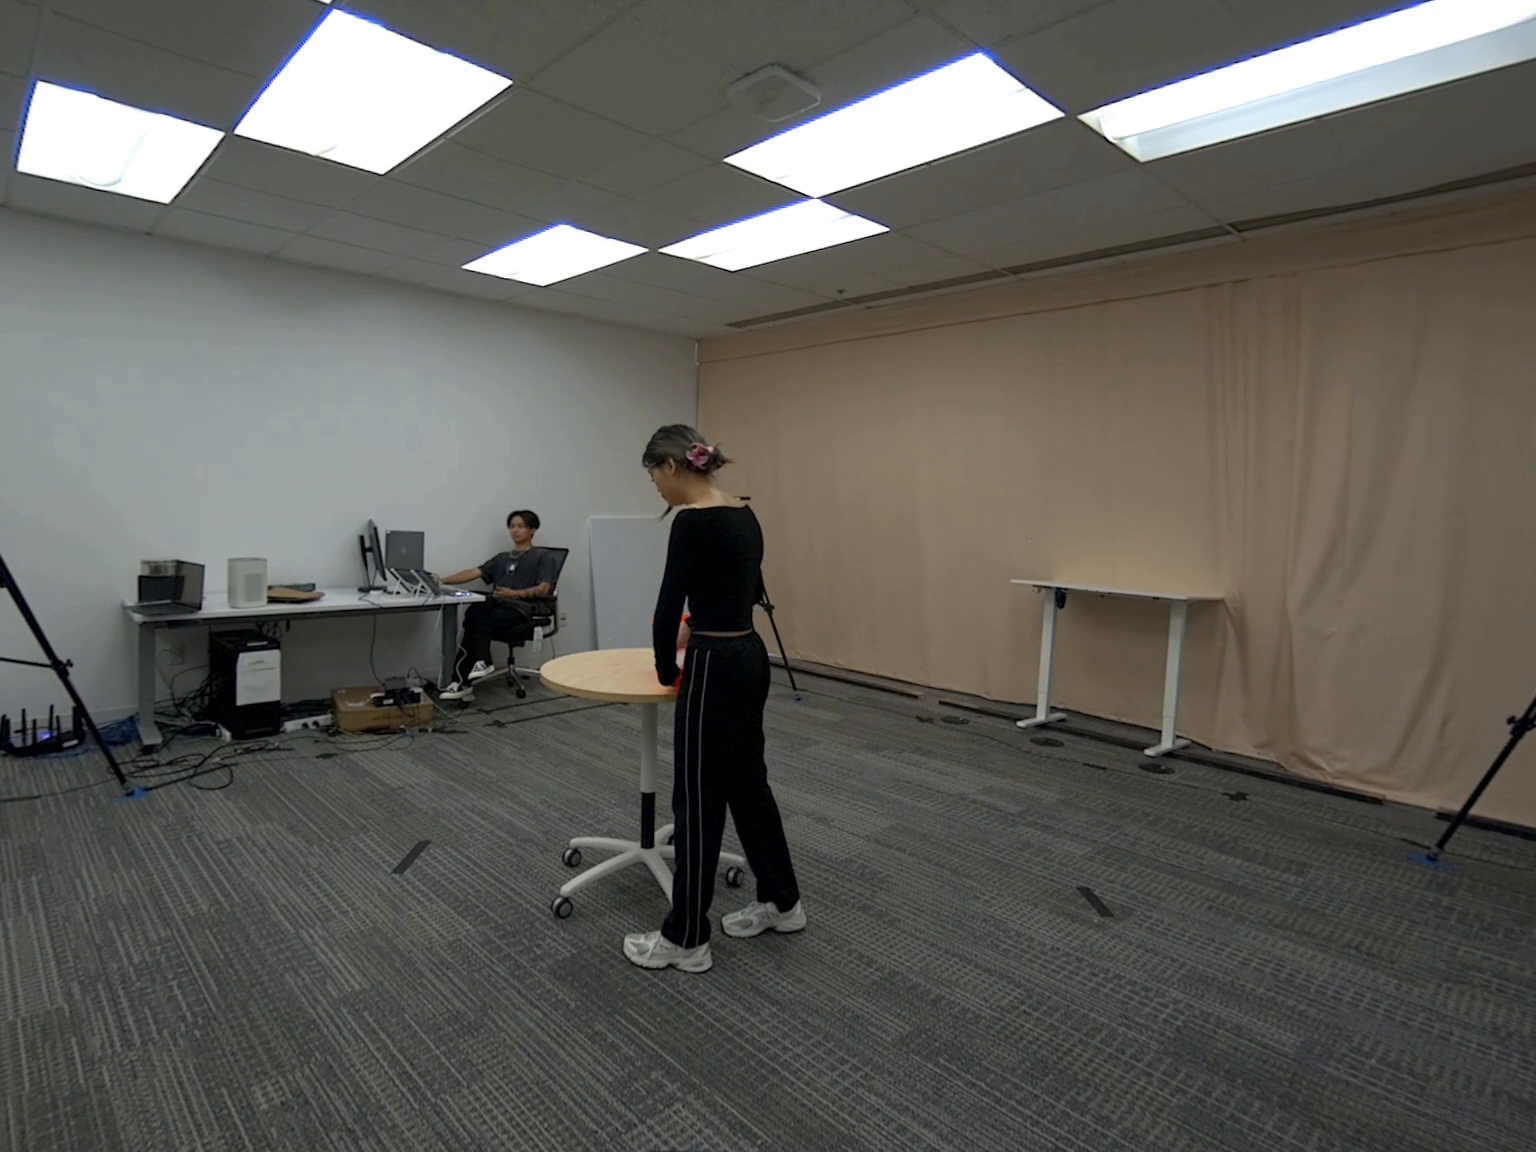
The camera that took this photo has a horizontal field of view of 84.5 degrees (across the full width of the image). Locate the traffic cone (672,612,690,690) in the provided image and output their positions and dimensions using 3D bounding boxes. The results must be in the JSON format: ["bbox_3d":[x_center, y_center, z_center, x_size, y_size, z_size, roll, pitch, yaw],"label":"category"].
[{"bbox_3d":[-0.283,0.298,2.763,0.205,0.200,0.389,-12,19,2],"label":"traffic cone"}]
